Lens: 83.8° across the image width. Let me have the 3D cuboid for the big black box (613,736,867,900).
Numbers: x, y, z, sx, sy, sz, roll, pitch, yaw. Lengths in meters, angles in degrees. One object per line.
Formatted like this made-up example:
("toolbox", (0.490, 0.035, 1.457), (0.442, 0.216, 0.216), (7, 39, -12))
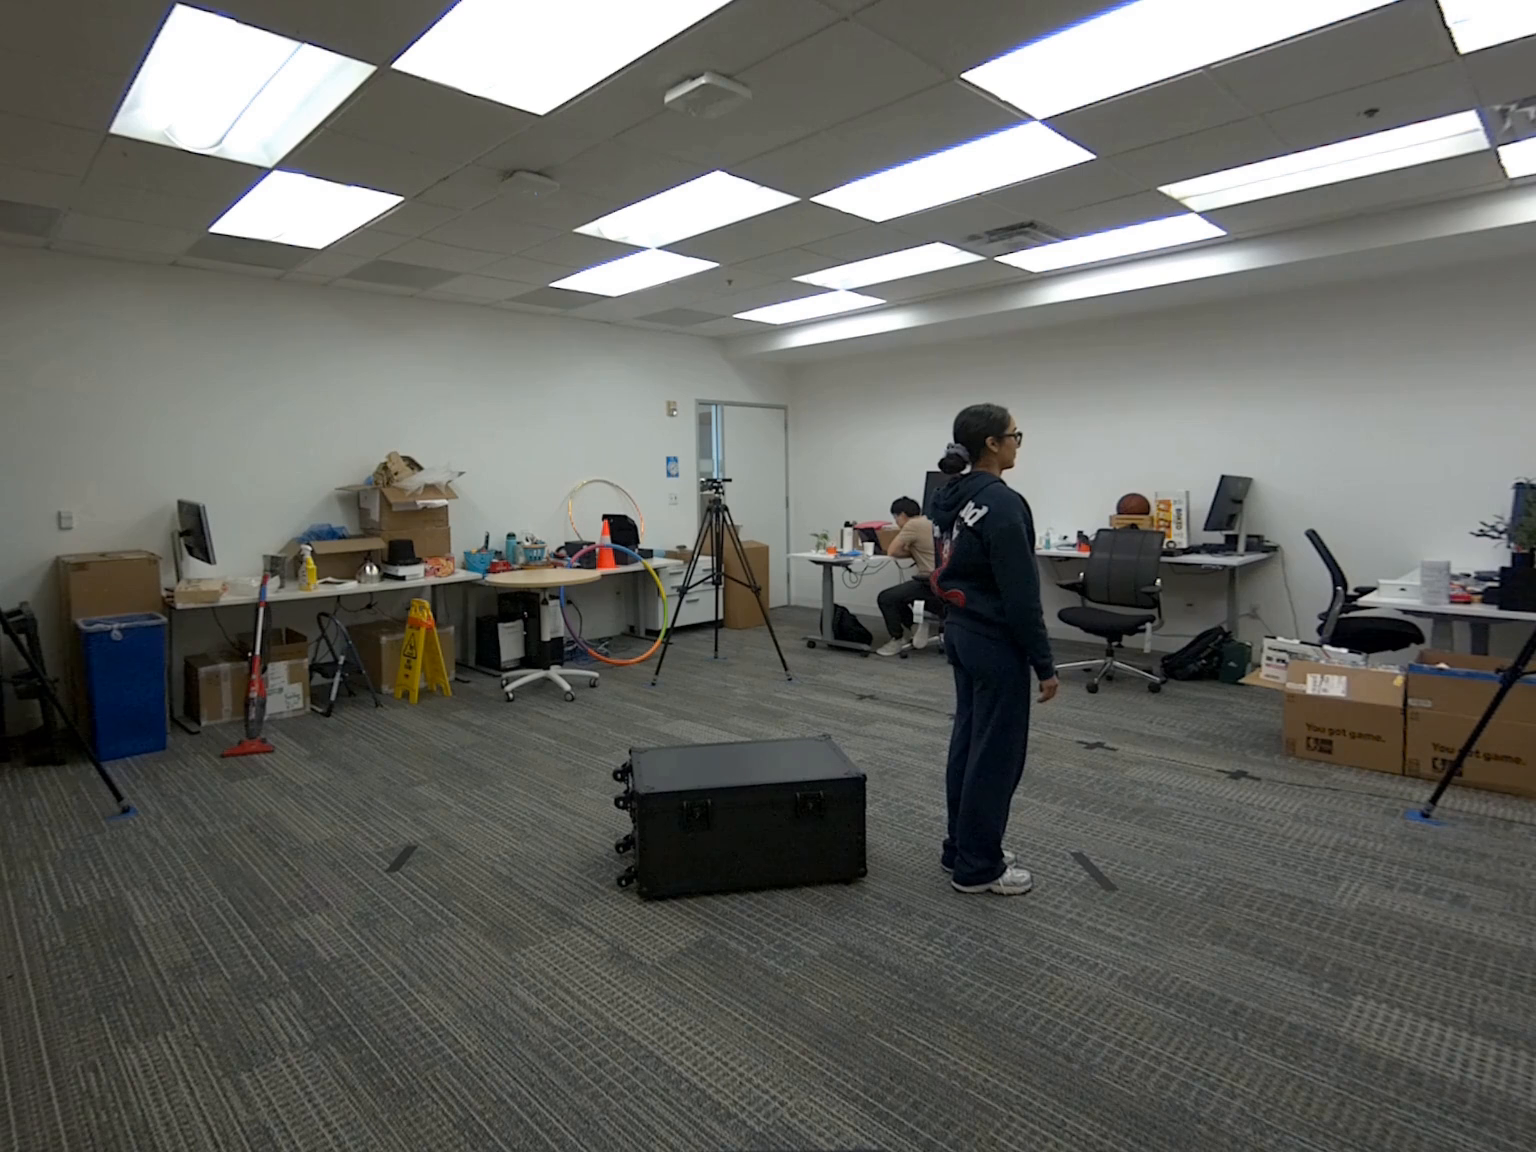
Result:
("big black box", (-0.125, 0.854, 3.094), (0.853, 0.395, 0.528), (-2, 5, -10))
